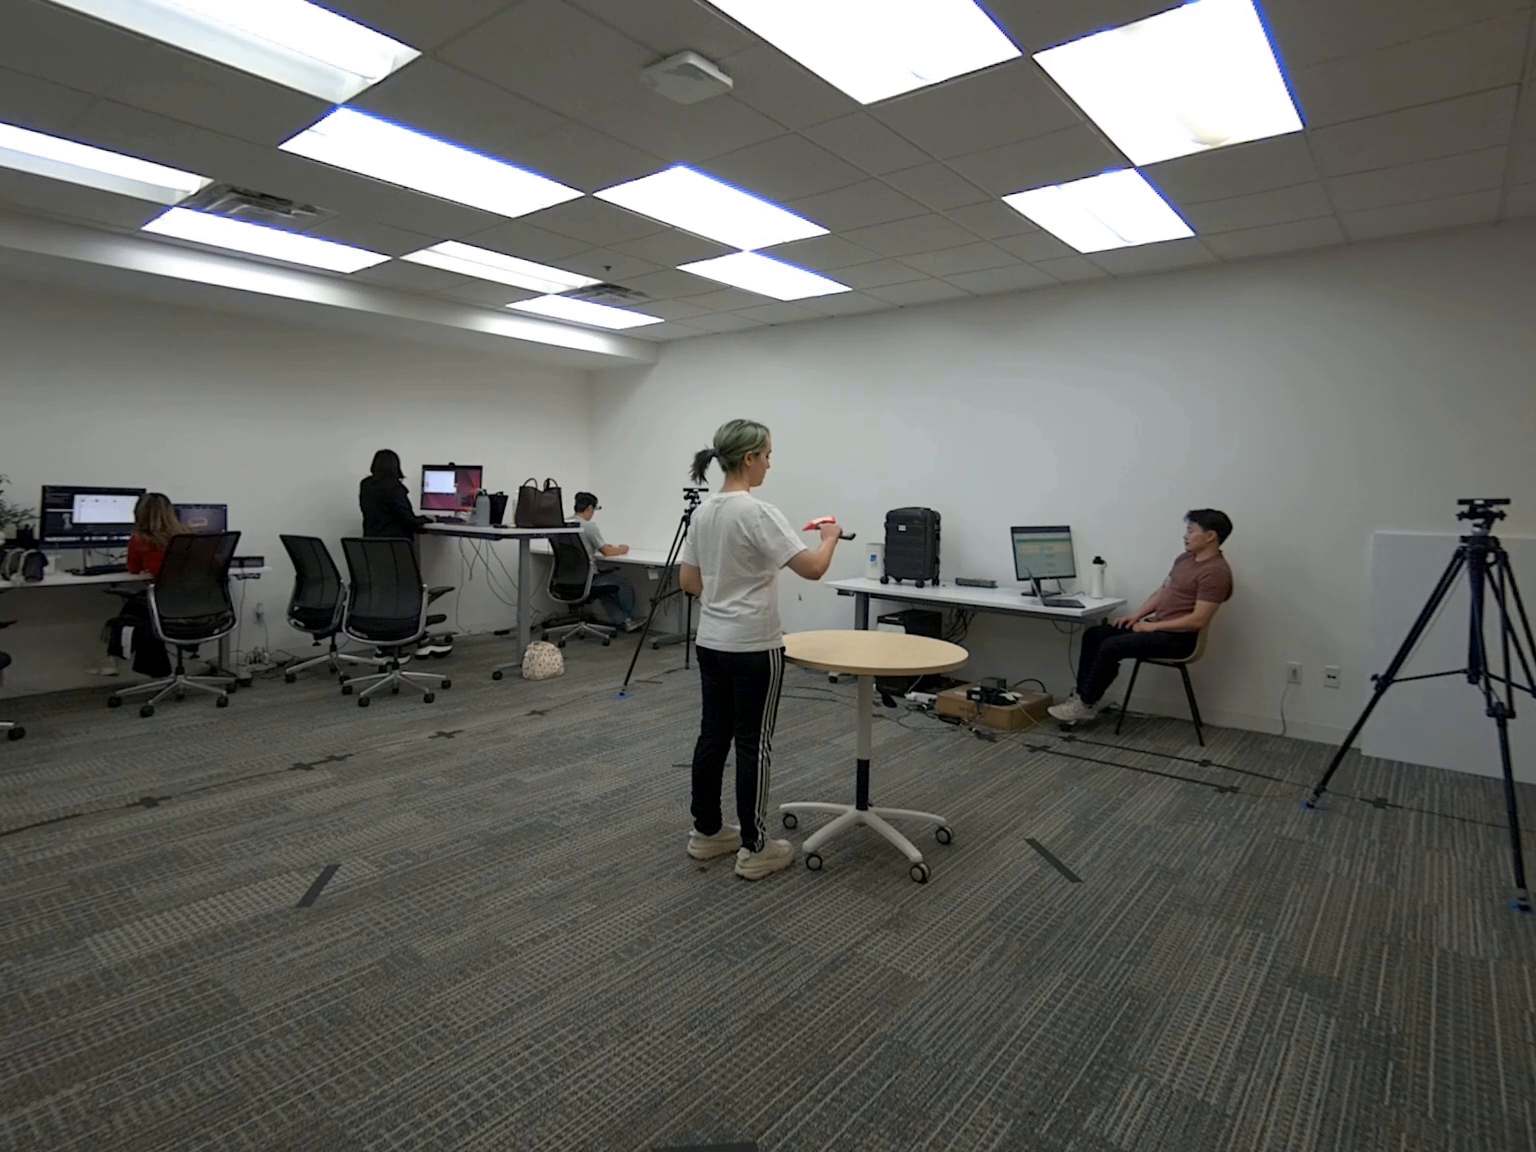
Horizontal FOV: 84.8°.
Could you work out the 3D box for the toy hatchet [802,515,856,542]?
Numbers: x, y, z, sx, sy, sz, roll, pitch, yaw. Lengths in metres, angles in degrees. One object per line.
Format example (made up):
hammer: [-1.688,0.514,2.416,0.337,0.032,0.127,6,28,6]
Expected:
toy hatchet: [0.253,-0.185,3.186,0.130,0.029,0.280,-32,28,-26]
